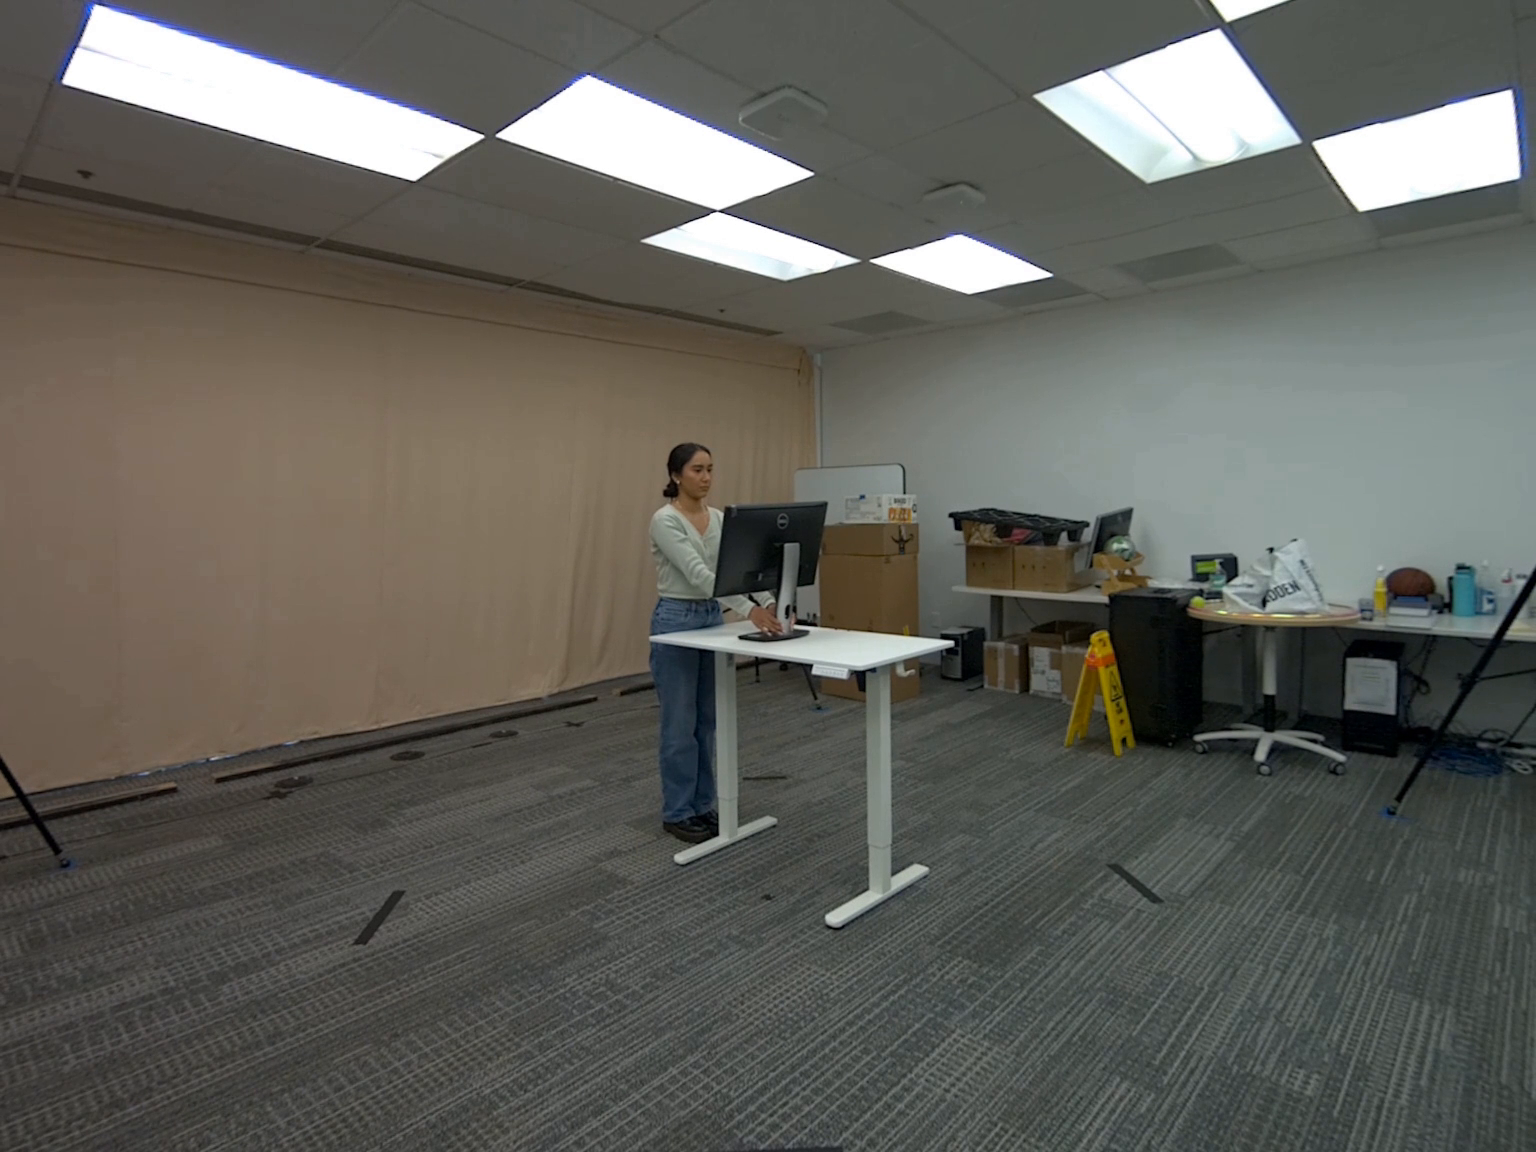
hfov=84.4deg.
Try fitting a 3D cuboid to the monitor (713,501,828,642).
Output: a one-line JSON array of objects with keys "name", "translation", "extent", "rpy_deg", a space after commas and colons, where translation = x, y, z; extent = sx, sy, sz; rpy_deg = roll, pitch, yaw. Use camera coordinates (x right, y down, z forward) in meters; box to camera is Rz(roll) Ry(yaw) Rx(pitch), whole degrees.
[{"name": "monitor", "translation": [0.050, -0.016, 3.220], "extent": [0.523, 0.521, 0.193], "rpy_deg": [-5, 6, -44]}]
